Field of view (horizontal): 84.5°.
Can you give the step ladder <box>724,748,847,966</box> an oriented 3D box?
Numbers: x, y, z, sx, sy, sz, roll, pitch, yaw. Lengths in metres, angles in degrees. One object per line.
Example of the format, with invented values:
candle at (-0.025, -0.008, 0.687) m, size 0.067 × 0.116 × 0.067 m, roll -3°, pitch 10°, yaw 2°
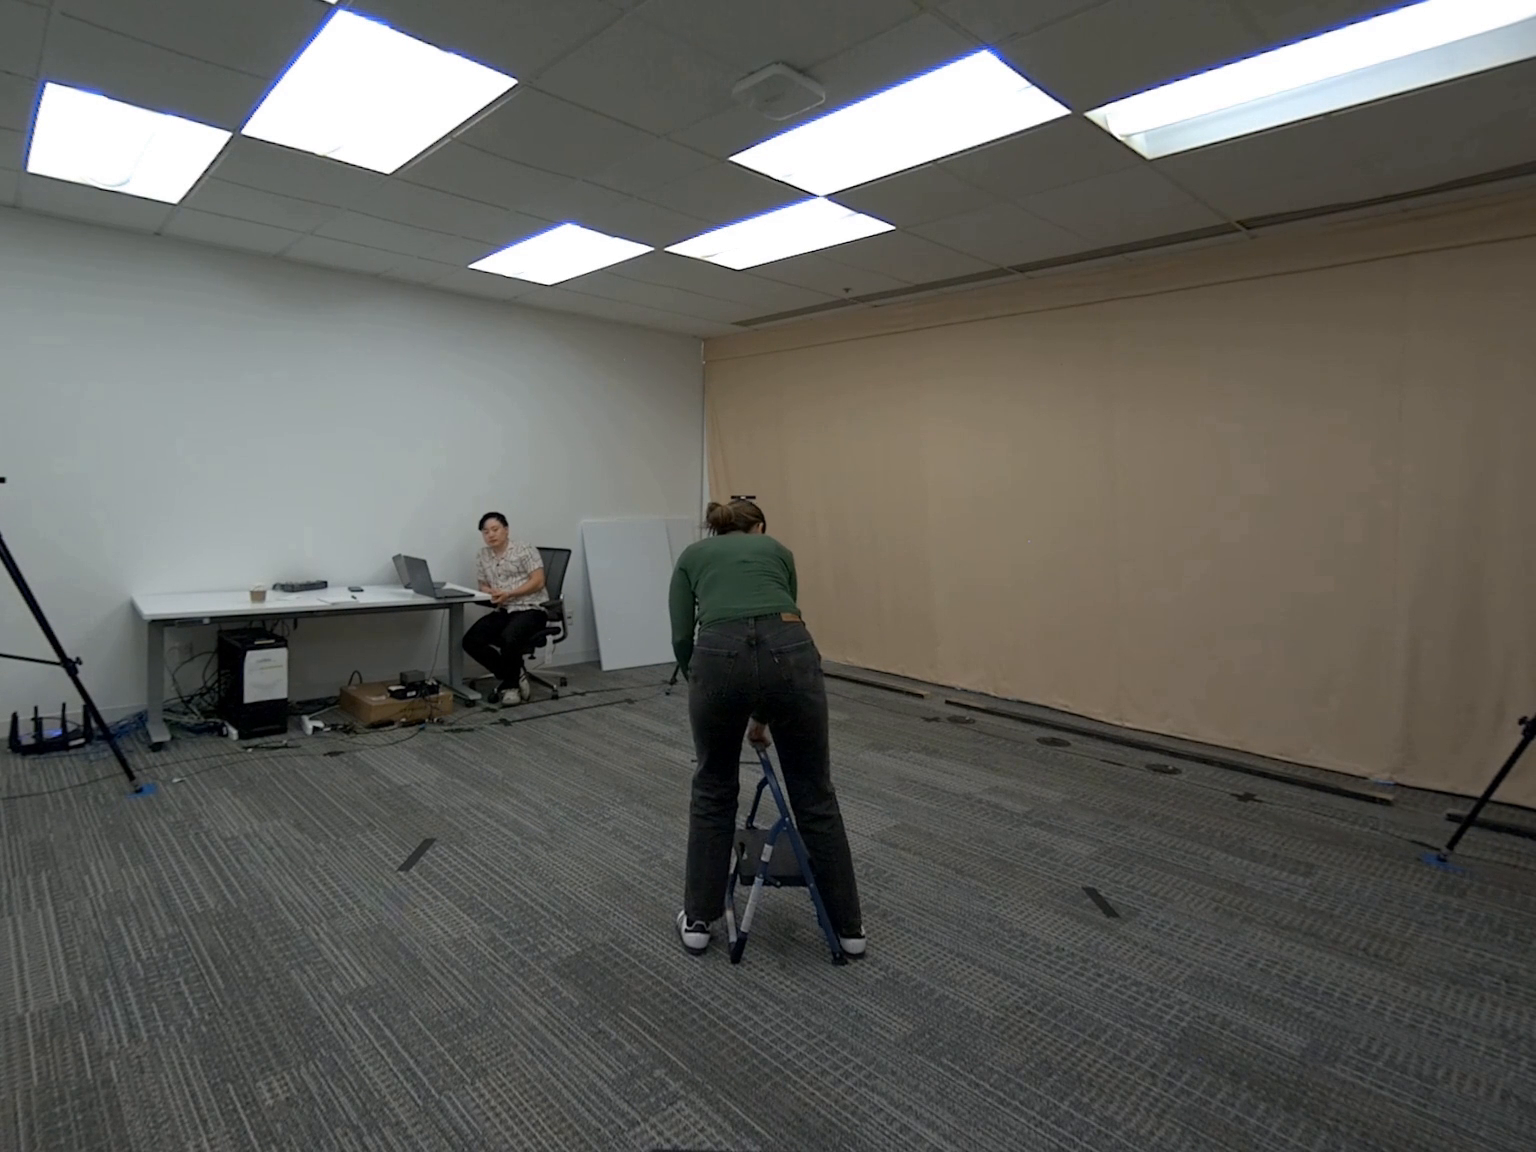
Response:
step ladder at (0.039, 0.847, 2.701) m, size 0.348 × 0.603 × 0.434 m, roll 1°, pitch 6°, yaw -5°
